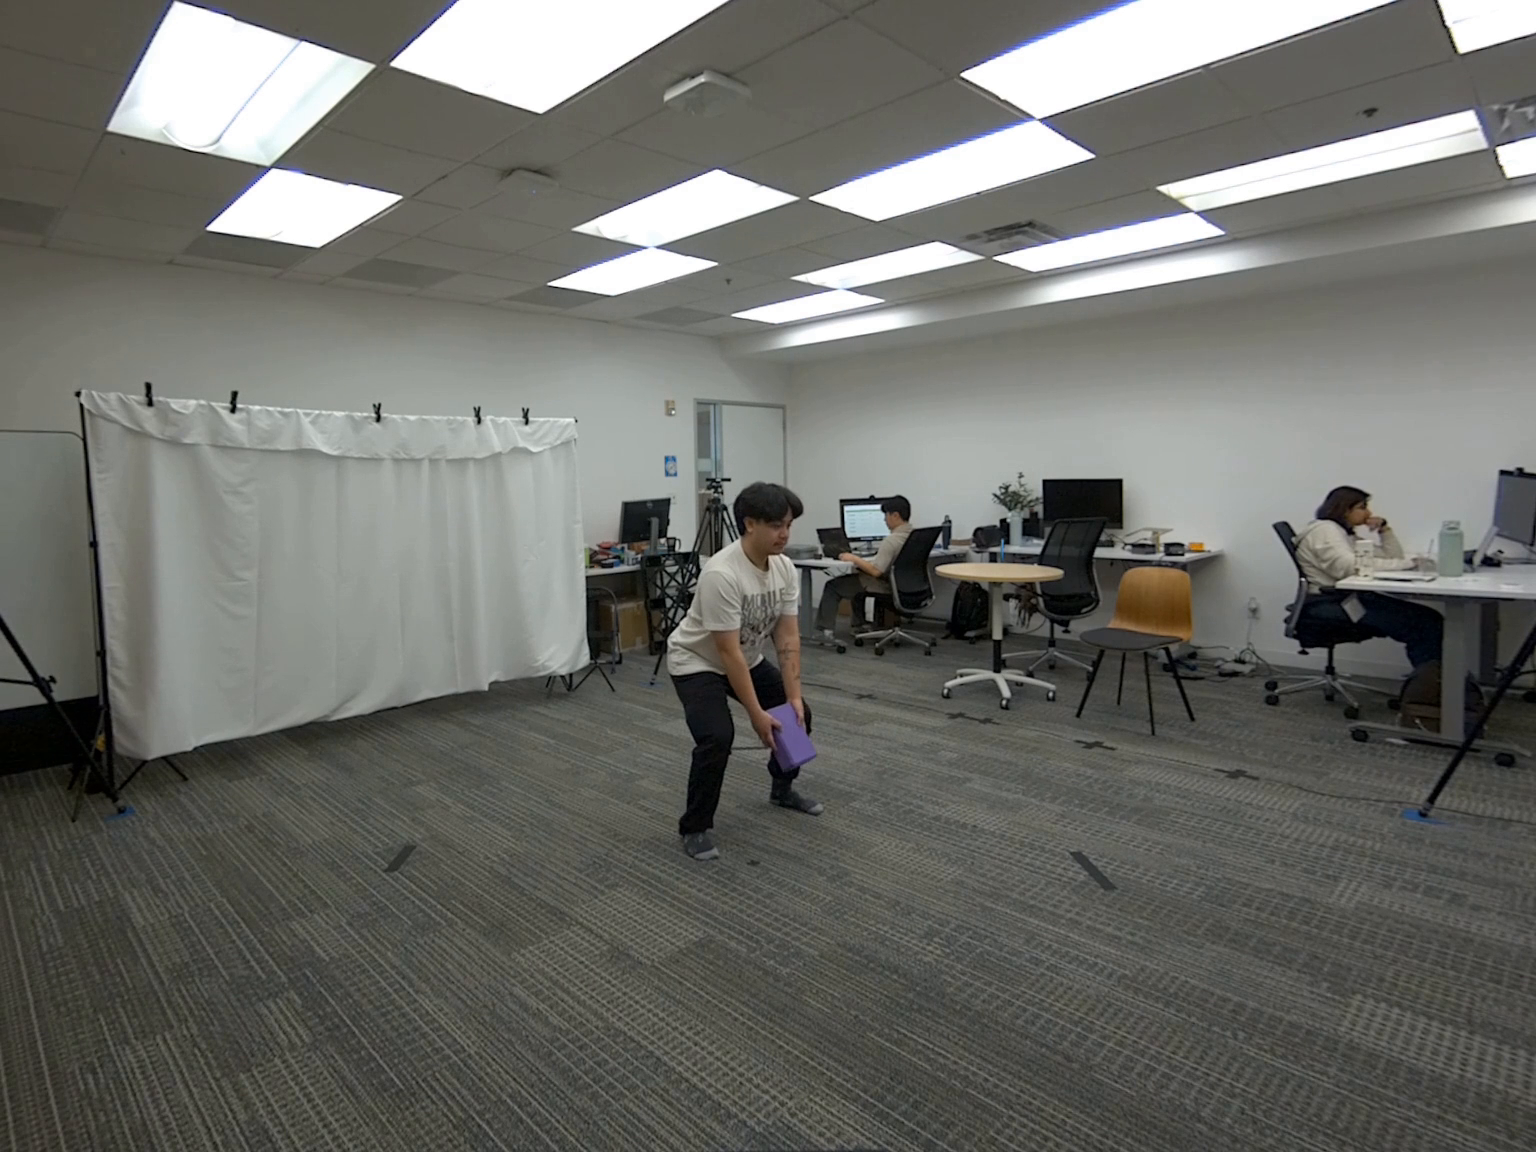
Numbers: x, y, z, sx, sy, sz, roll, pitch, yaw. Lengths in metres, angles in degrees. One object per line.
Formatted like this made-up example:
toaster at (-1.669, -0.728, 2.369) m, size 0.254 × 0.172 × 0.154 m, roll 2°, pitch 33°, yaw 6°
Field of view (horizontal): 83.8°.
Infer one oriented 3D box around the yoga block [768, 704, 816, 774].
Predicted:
yoga block at (0.064, 0.613, 3.264) m, size 0.145 × 0.235 × 0.076 m, roll -12°, pitch -27°, yaw -44°
